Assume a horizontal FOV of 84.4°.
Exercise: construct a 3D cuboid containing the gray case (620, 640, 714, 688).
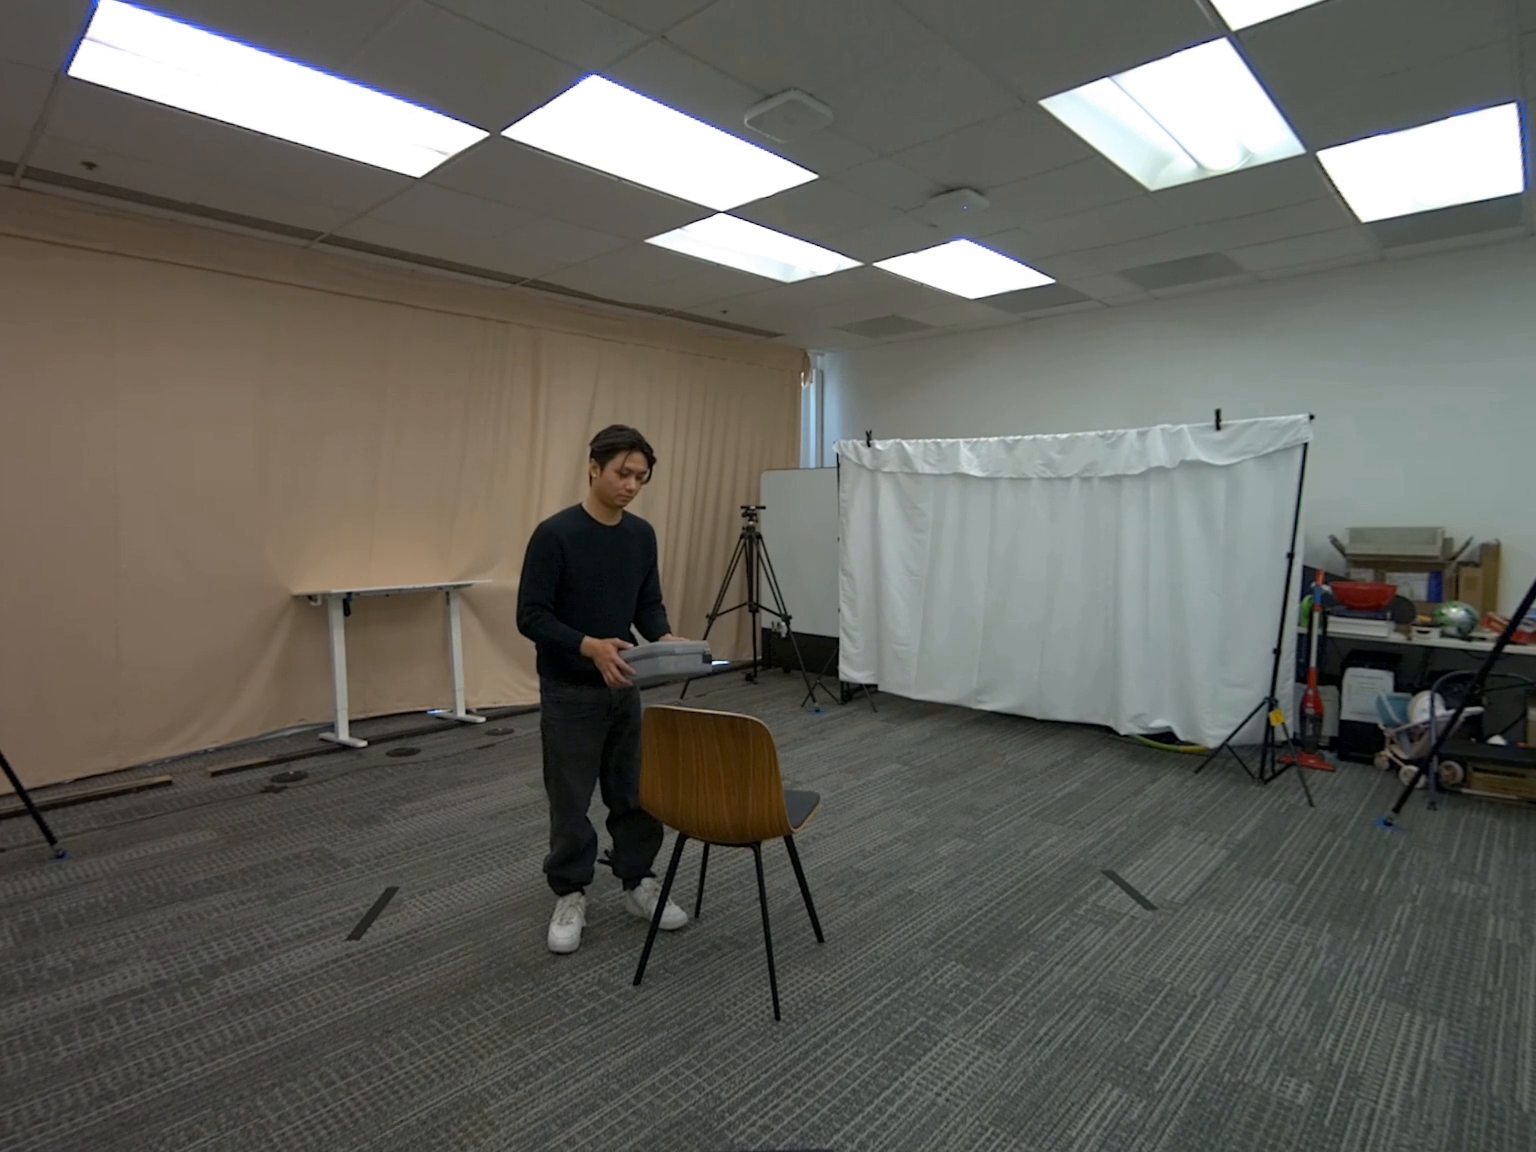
[{"bbox_3d":[-0.328,0.272,2.581,0.267,0.105,0.248,-16,-11,37],"label":"gray case"}]
